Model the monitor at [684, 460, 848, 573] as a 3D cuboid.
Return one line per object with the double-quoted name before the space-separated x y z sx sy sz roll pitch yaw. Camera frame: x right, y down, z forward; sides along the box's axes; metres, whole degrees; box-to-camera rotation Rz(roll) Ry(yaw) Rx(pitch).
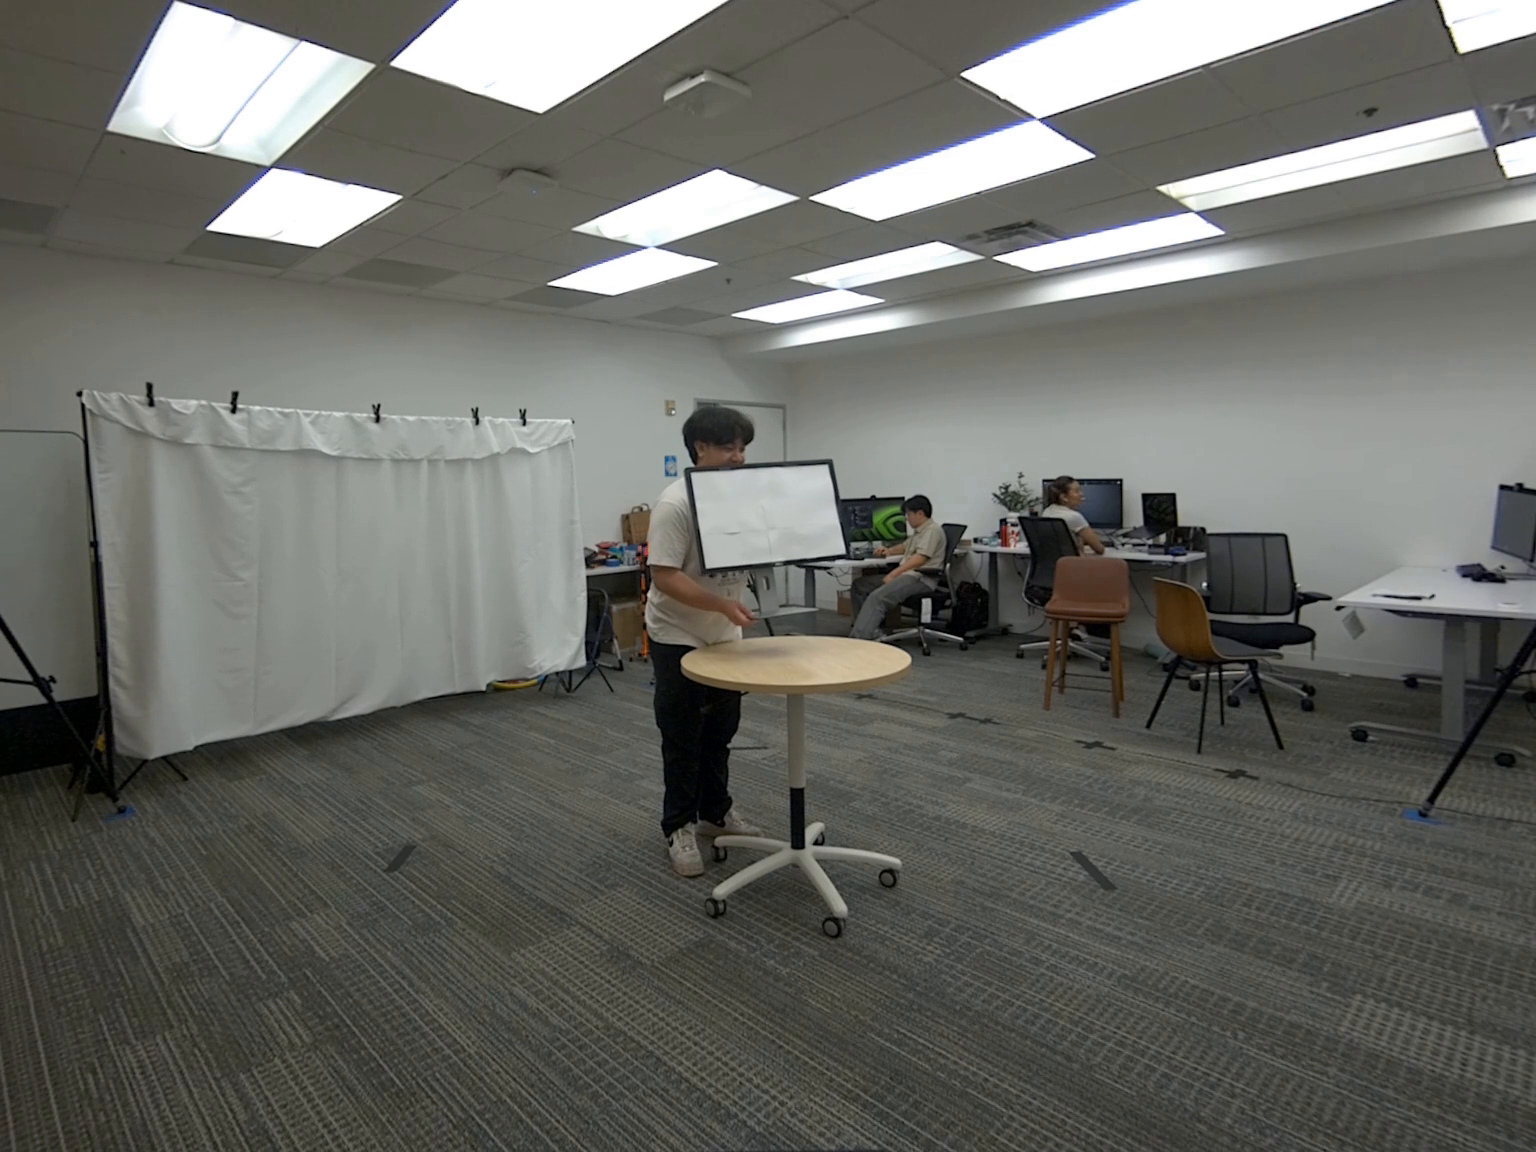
"monitor" -0.014 -0.113 2.977 0.555 0.556 0.213 -6 -4 -23
